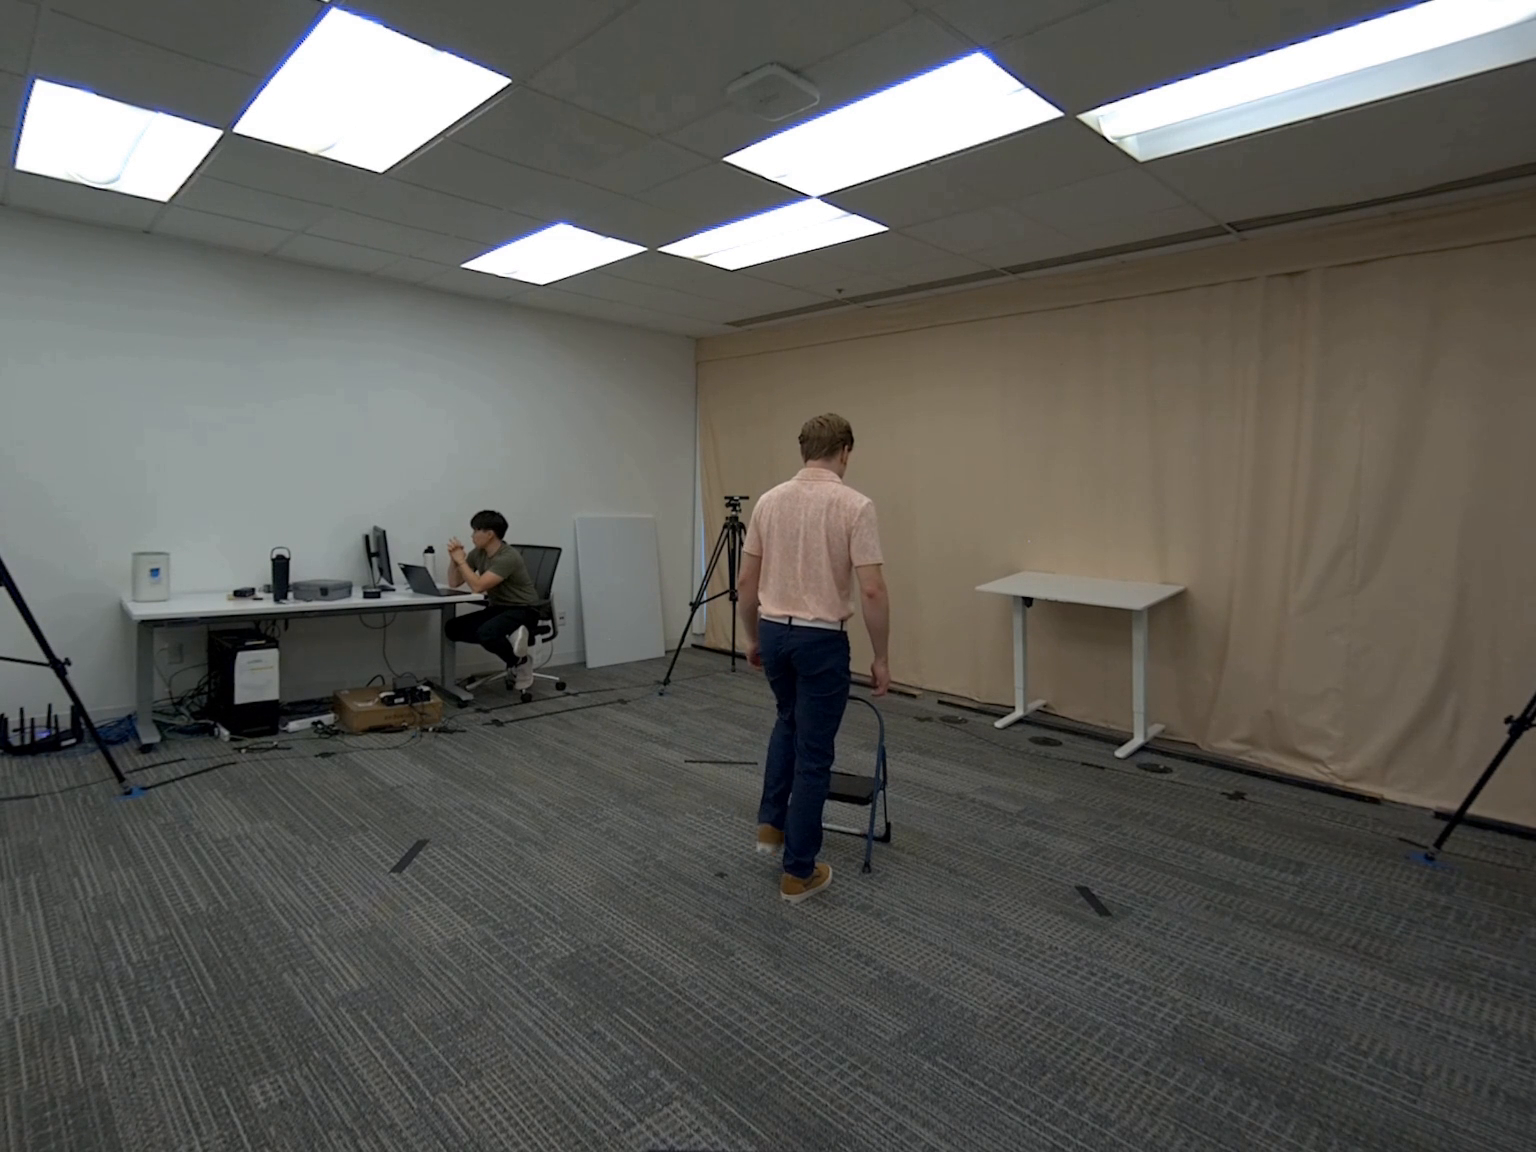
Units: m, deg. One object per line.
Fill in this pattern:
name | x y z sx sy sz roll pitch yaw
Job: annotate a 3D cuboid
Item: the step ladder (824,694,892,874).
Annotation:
step ladder | 0.254 0.786 3.380 0.439 0.605 0.343 3 3 24
